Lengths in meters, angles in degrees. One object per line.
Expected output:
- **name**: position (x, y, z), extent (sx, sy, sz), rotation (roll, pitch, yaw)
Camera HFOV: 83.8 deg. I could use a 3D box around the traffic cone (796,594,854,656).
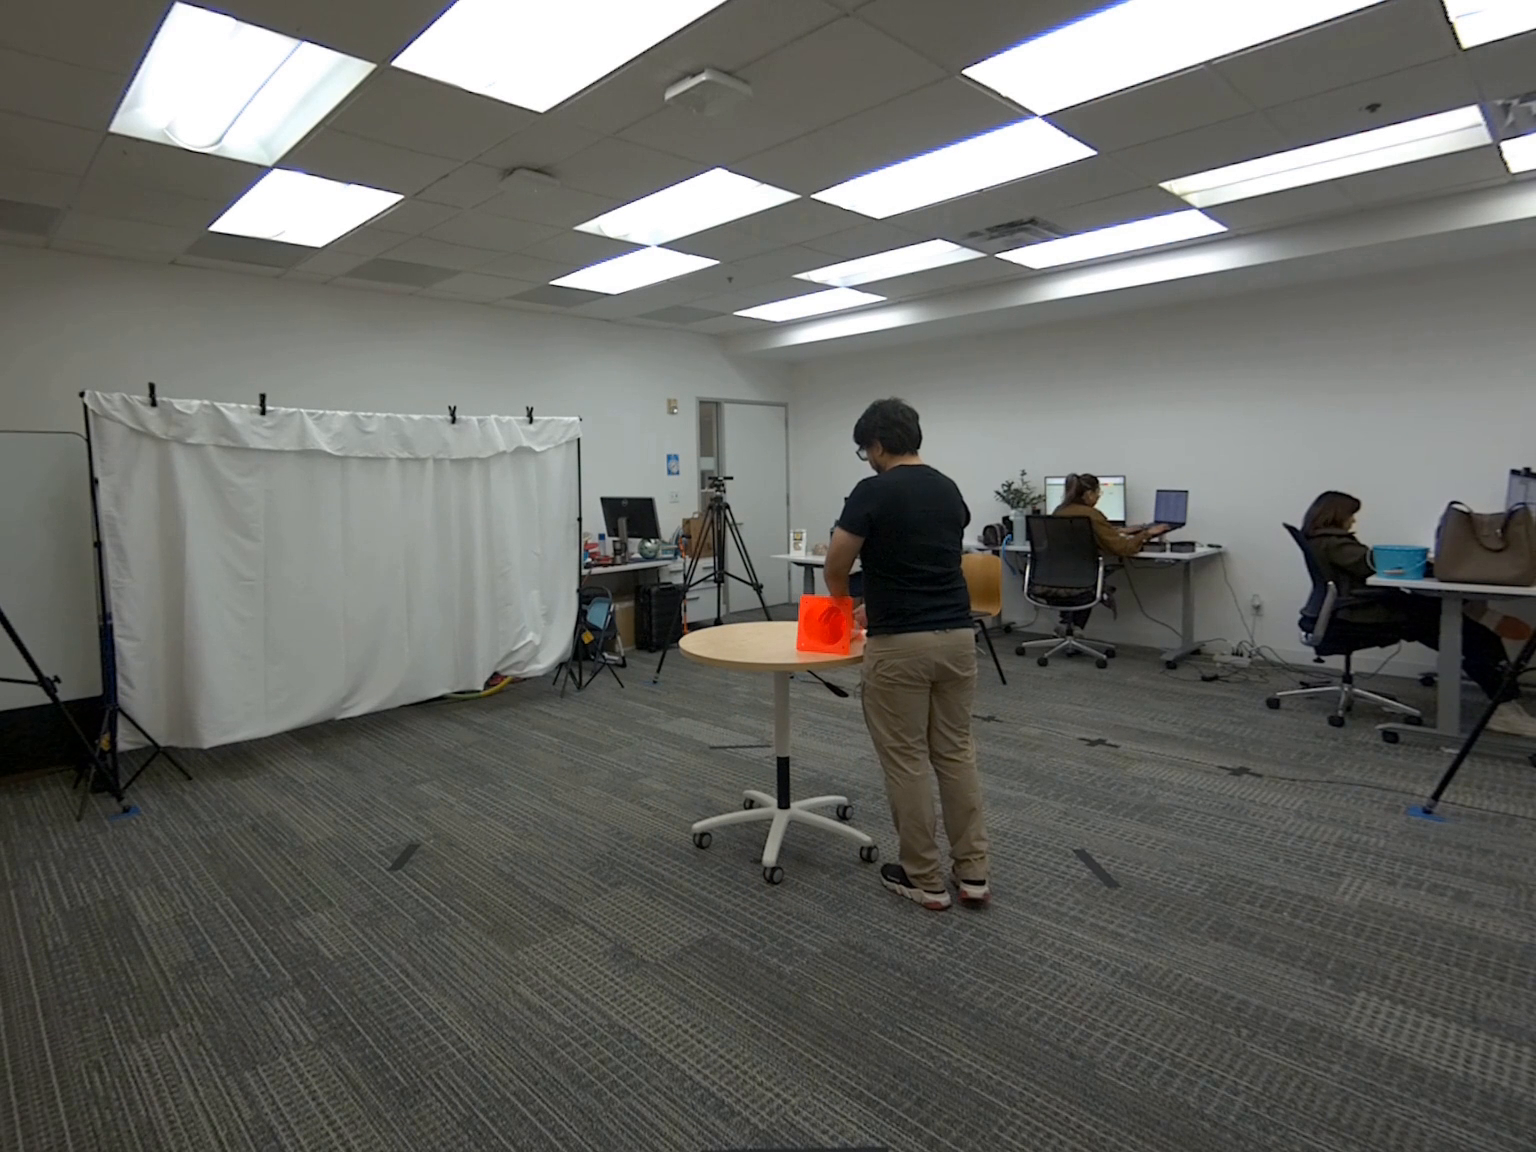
- **traffic cone**: position (0.275, 0.195, 3.140), extent (0.210, 0.205, 0.372), rotation (-1, -8, 25)
